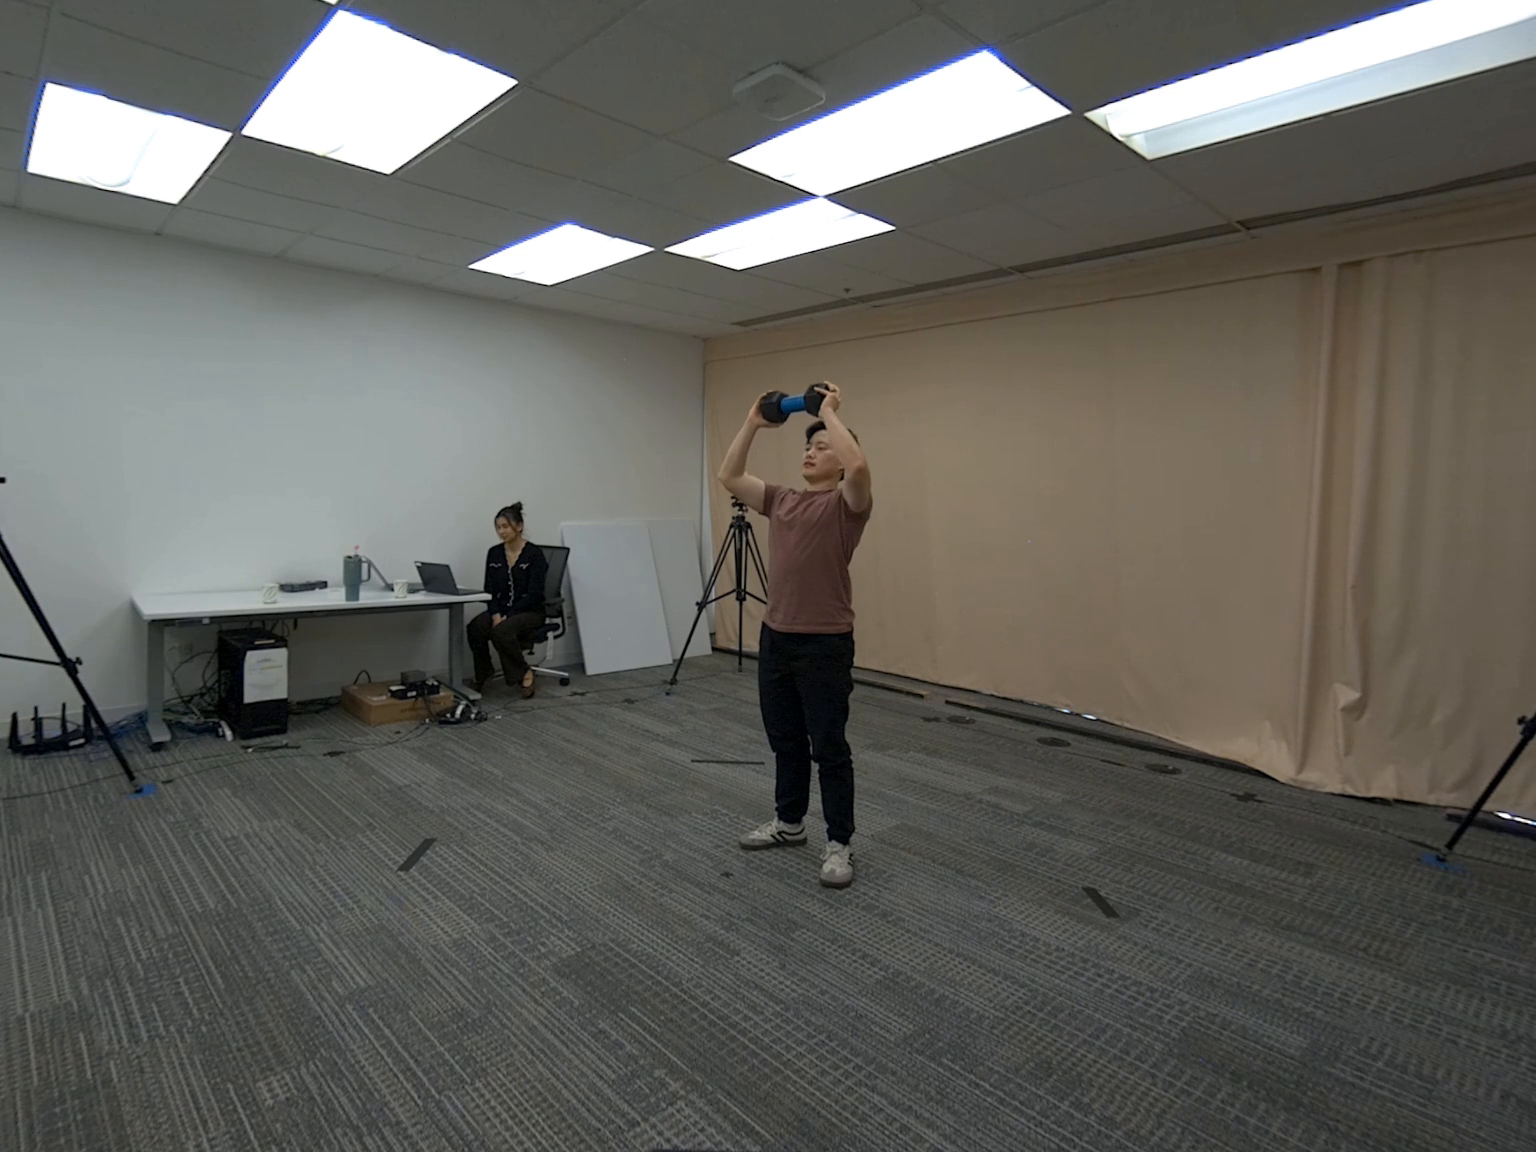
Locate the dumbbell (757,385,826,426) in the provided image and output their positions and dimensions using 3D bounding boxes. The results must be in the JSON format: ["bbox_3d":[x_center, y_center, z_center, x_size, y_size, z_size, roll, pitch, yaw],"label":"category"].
[{"bbox_3d":[0.106,-0.636,3.120,0.300,0.123,0.105,1,-41,42],"label":"dumbbell"}]
